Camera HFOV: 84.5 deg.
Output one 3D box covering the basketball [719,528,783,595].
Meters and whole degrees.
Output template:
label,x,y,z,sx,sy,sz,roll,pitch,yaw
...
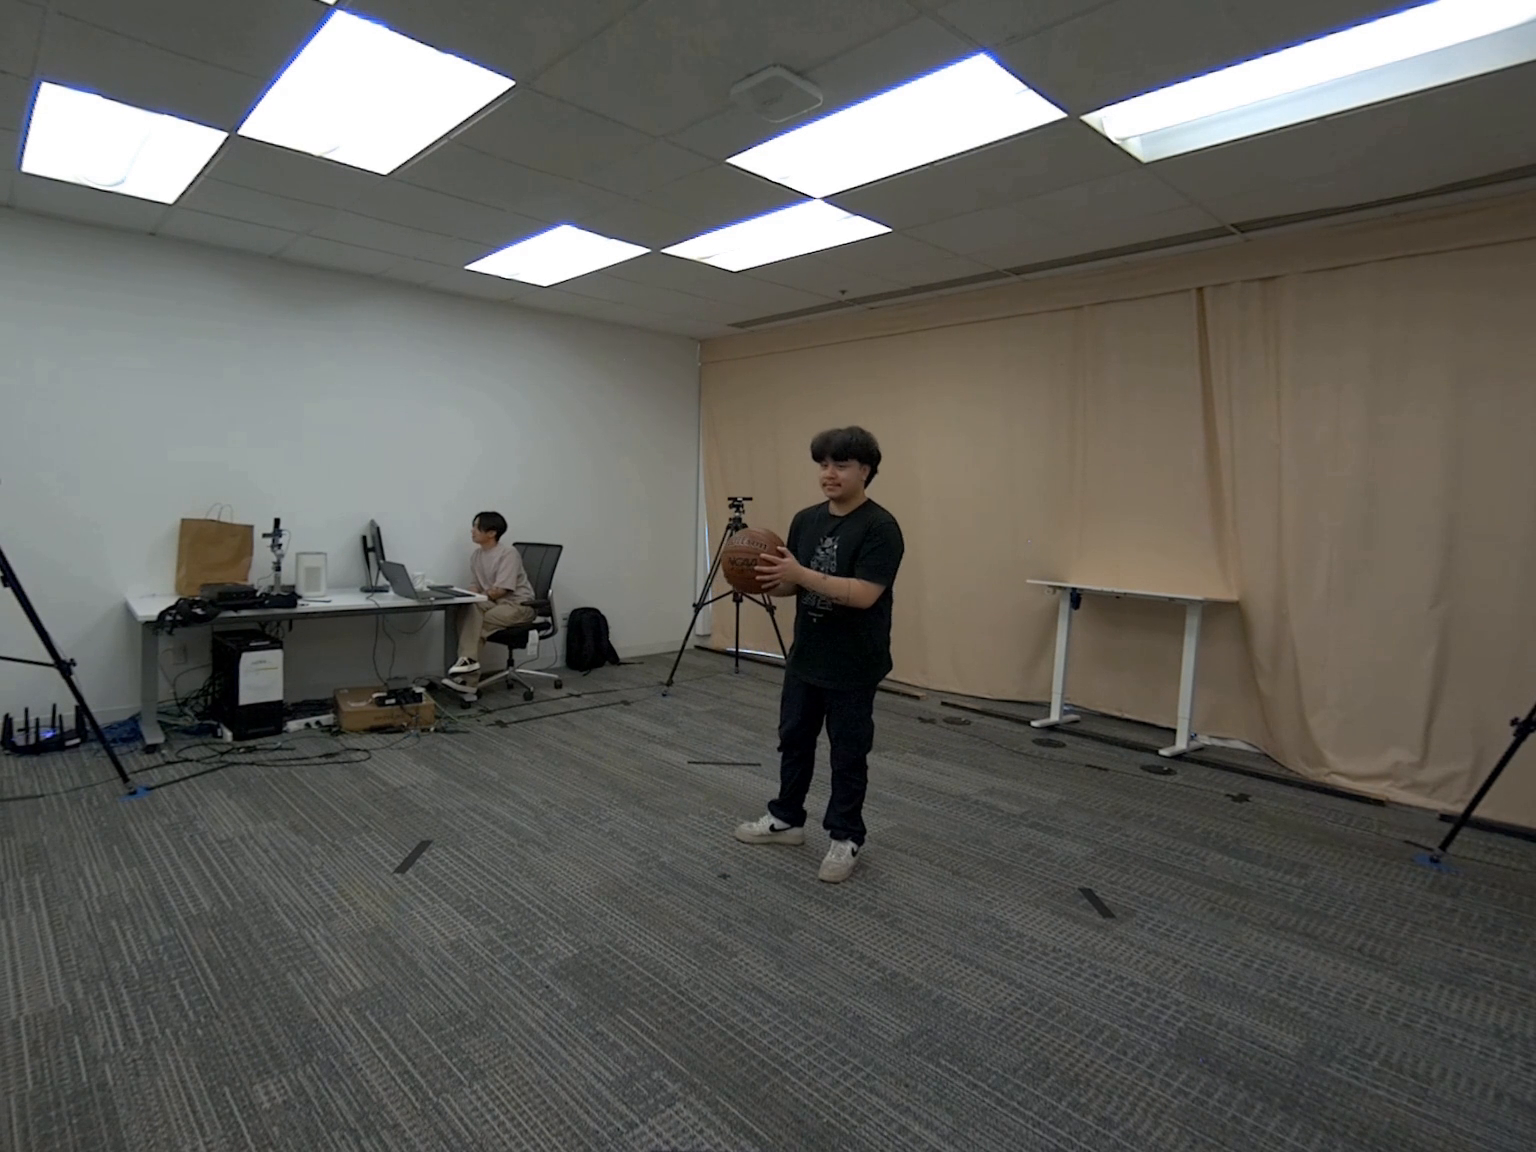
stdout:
label,x,y,z,sx,sy,sz,roll,pitch,yaw
basketball,-0.048,-0.049,2.971,0.236,0.235,0.237,1,4,-1
